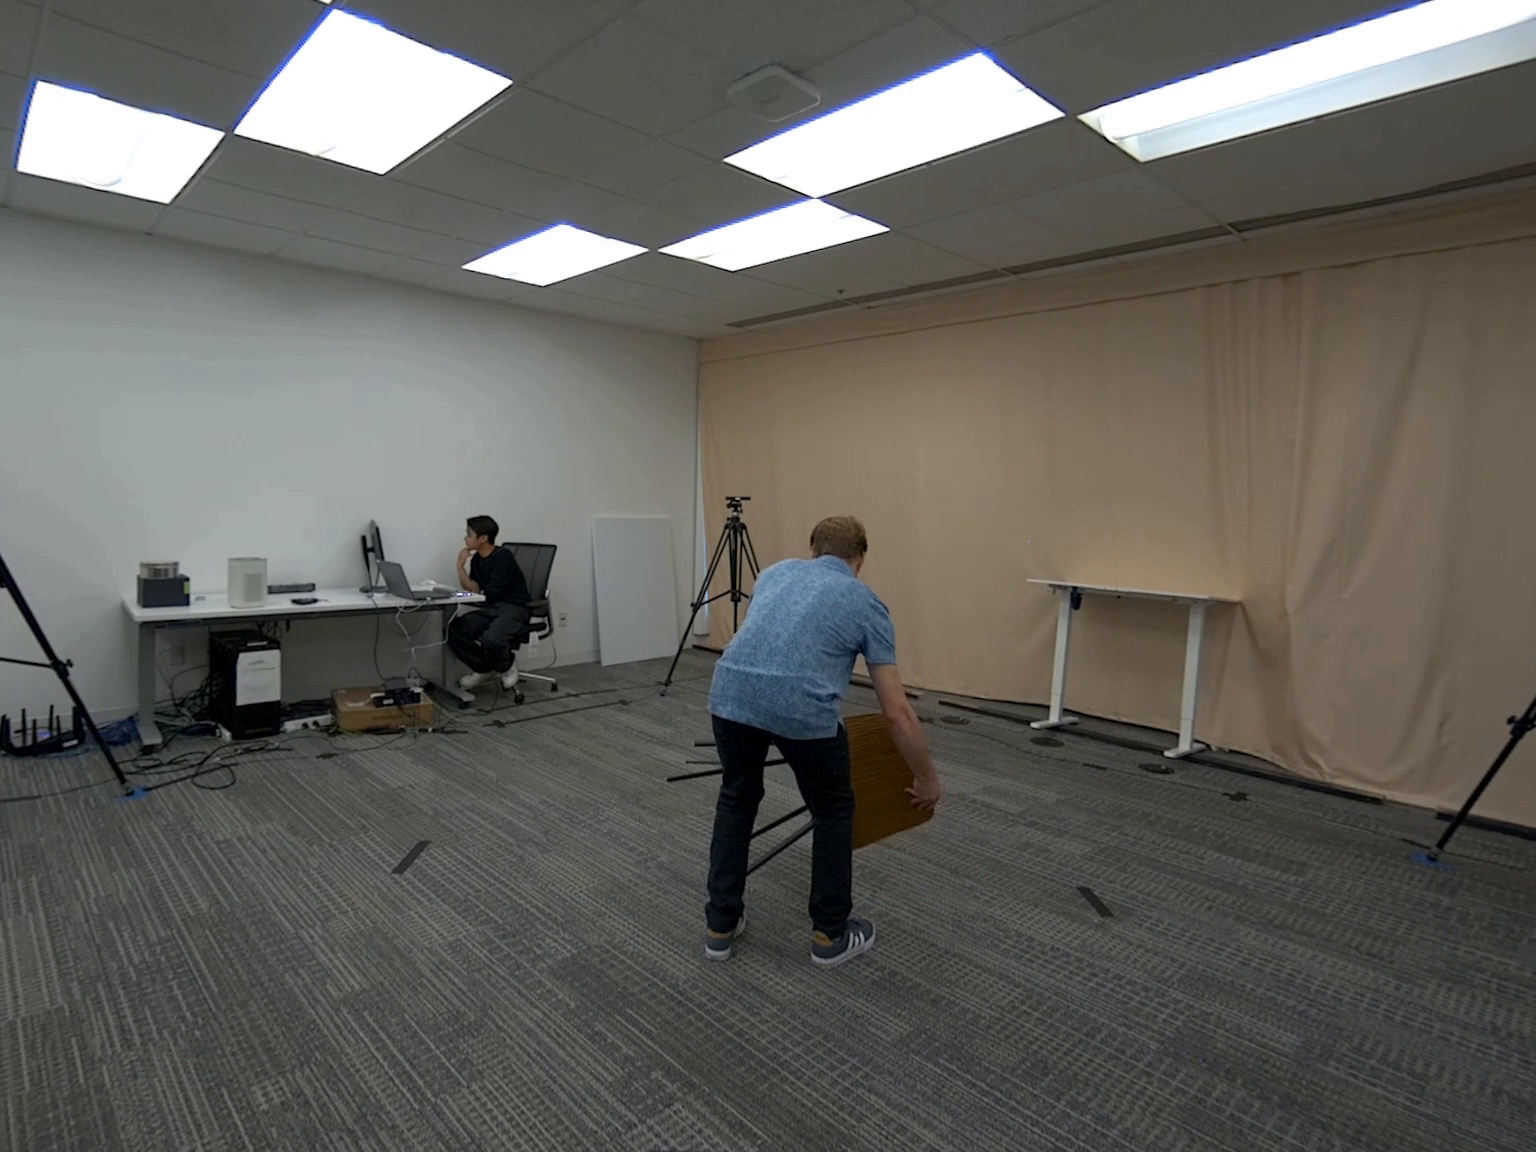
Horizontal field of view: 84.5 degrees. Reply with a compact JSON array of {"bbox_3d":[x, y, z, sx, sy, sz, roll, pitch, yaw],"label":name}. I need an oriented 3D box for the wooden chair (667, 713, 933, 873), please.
[{"bbox_3d":[0.142,0.751,3.069,0.883,0.478,0.519,-20,0,14],"label":"wooden chair"}]
